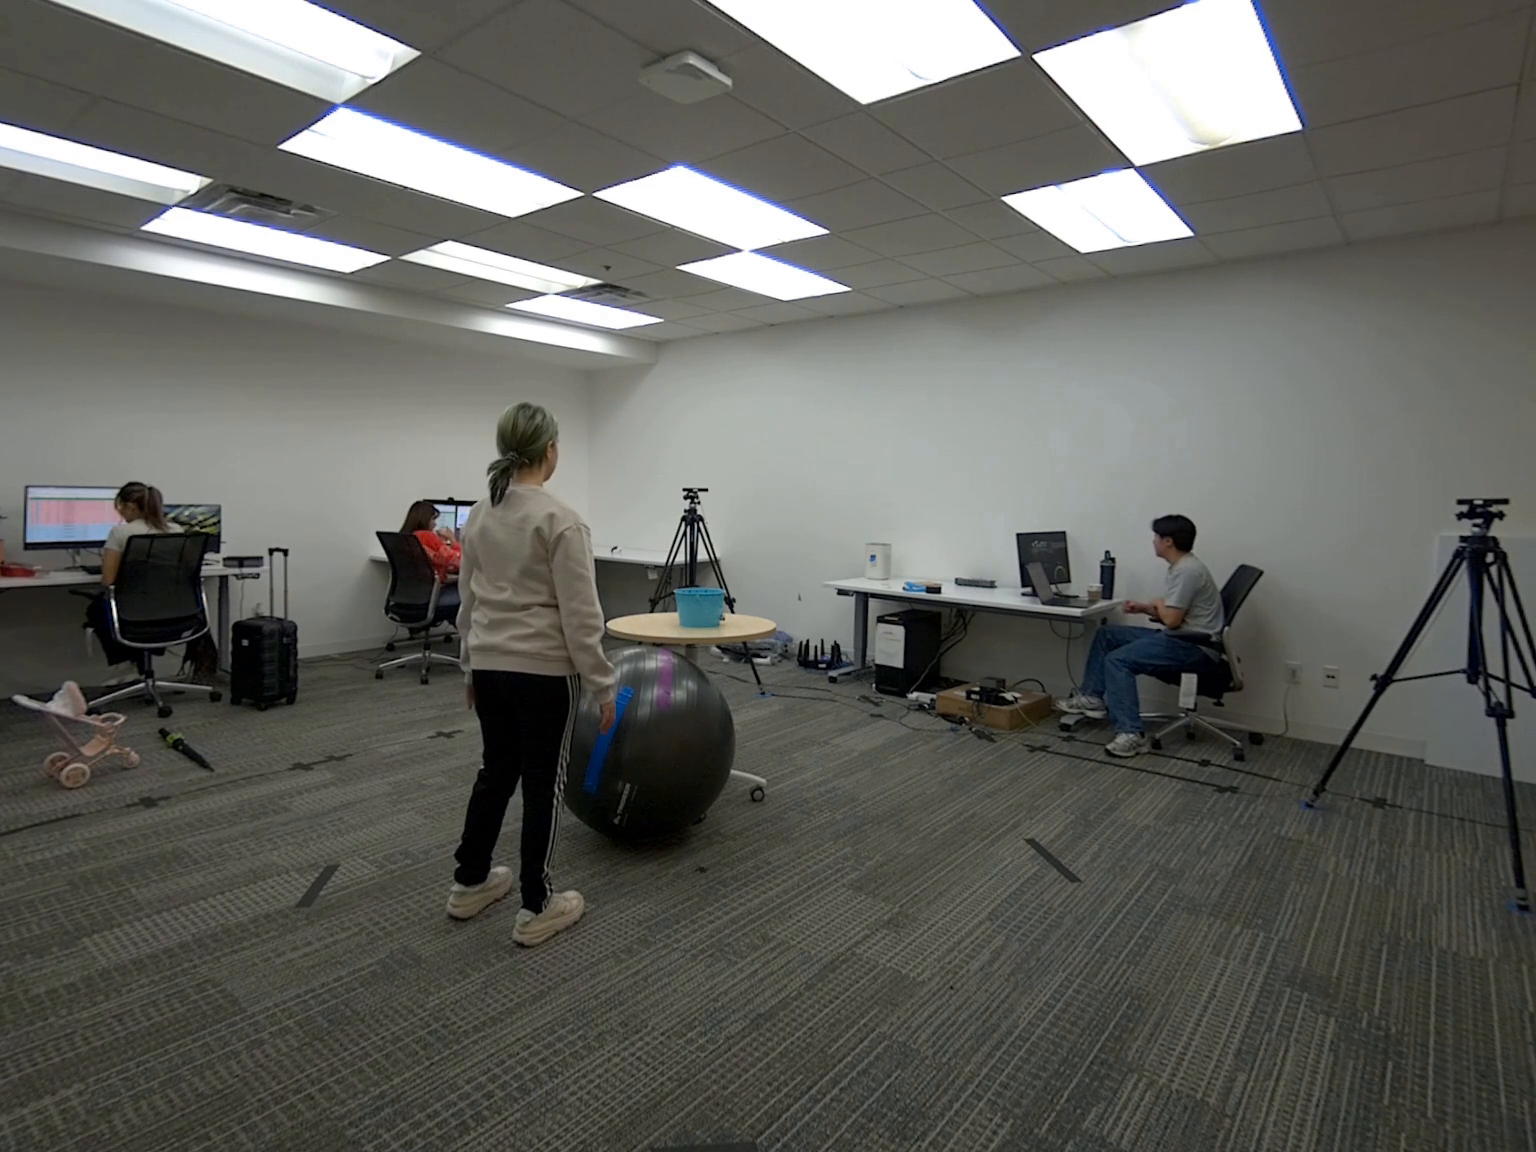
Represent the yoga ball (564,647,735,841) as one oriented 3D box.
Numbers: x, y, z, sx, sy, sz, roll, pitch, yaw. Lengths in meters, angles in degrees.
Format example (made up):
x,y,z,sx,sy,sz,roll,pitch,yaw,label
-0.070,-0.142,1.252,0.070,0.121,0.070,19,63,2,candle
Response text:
x,y,z,sx,sy,sz,roll,pitch,yaw,label
-0.517,0.663,3.418,0.757,0.756,0.761,1,4,-2,yoga ball
